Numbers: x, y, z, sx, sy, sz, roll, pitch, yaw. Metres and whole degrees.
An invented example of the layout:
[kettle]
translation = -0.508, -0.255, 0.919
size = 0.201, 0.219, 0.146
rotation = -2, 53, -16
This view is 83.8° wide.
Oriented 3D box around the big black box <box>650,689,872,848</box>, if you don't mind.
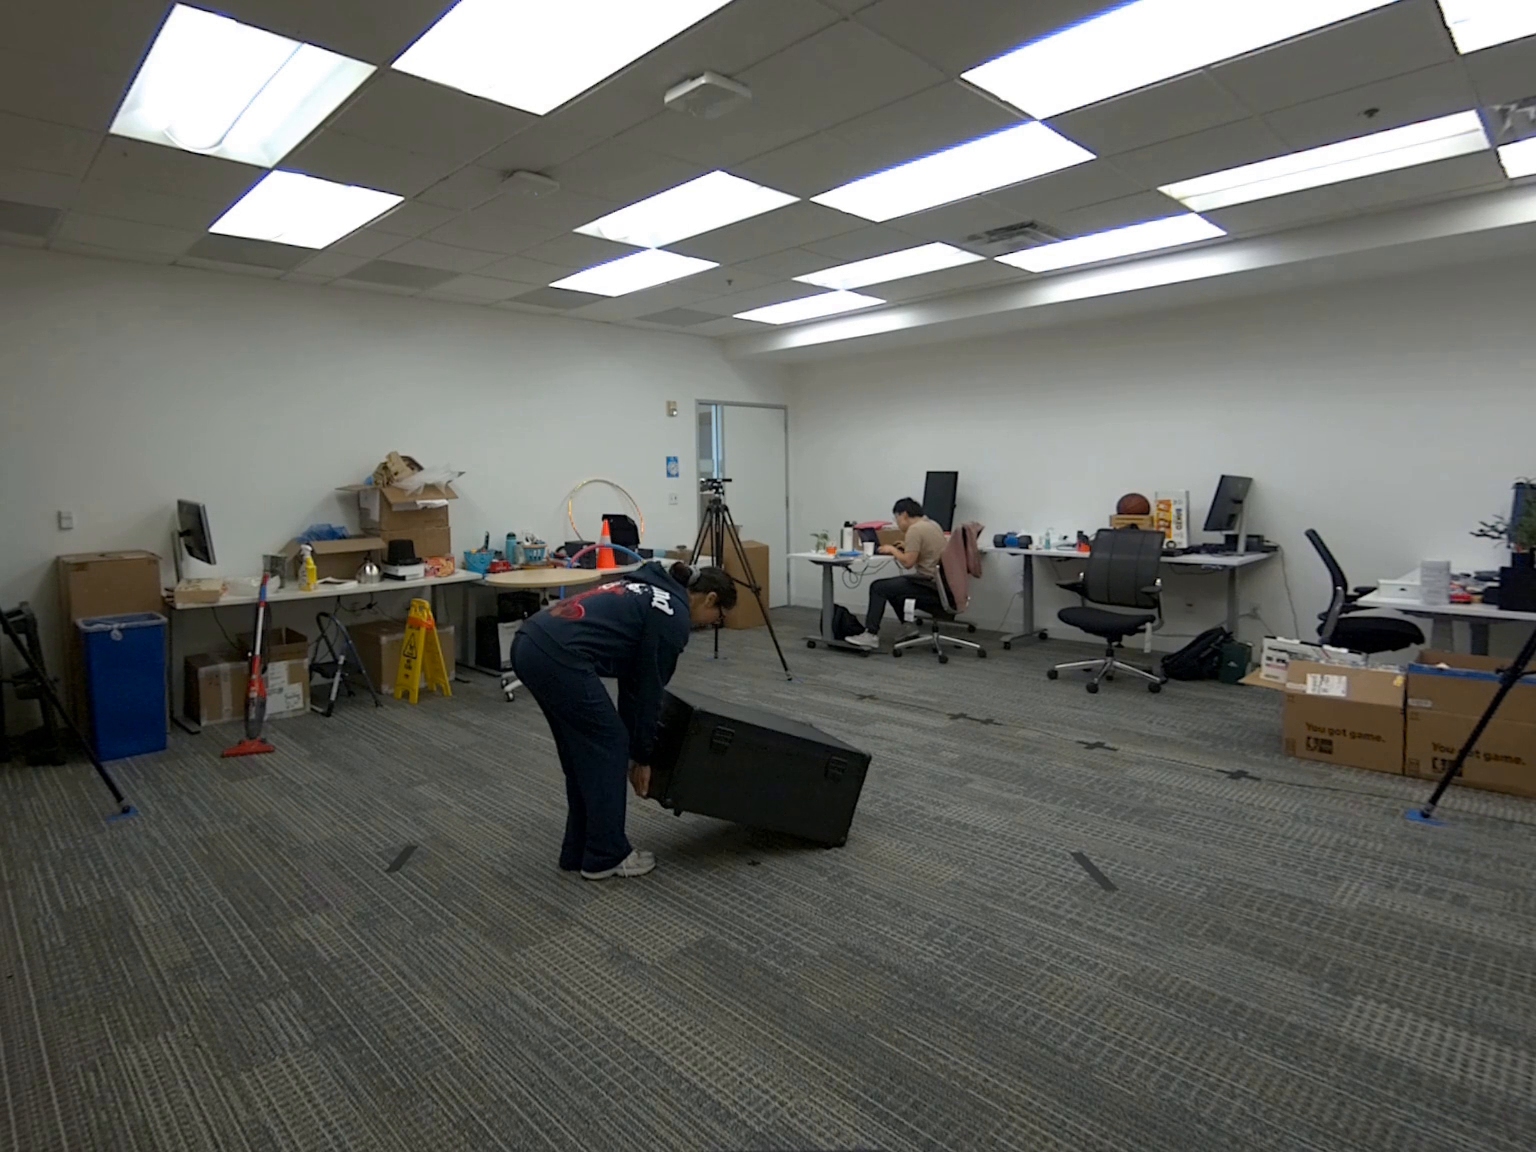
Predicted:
[big black box]
translation = -0.059, 0.709, 3.350
size = 0.839, 0.523, 0.405
rotation = 18, -6, -24
